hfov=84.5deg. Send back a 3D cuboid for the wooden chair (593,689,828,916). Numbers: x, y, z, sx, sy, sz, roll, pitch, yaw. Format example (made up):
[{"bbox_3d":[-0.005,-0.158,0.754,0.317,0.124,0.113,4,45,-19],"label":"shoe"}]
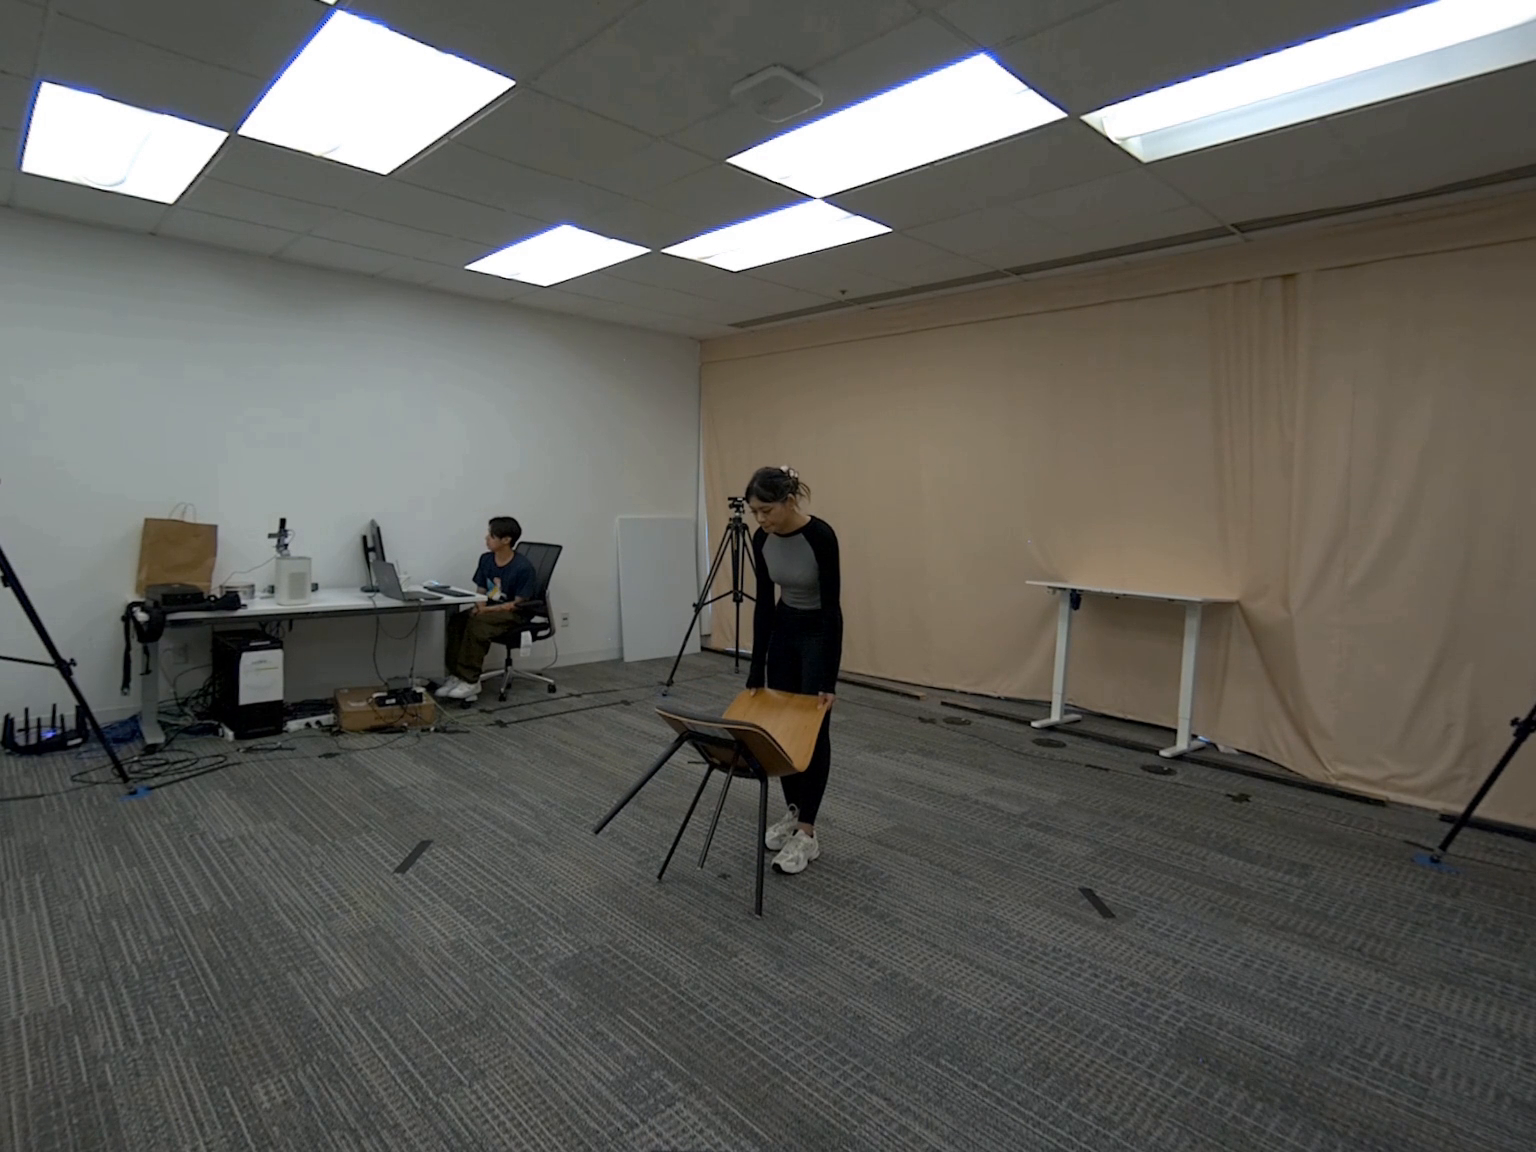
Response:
[{"bbox_3d":[-0.158,0.643,2.971,0.489,0.883,0.507,3,-39,34],"label":"wooden chair"}]
